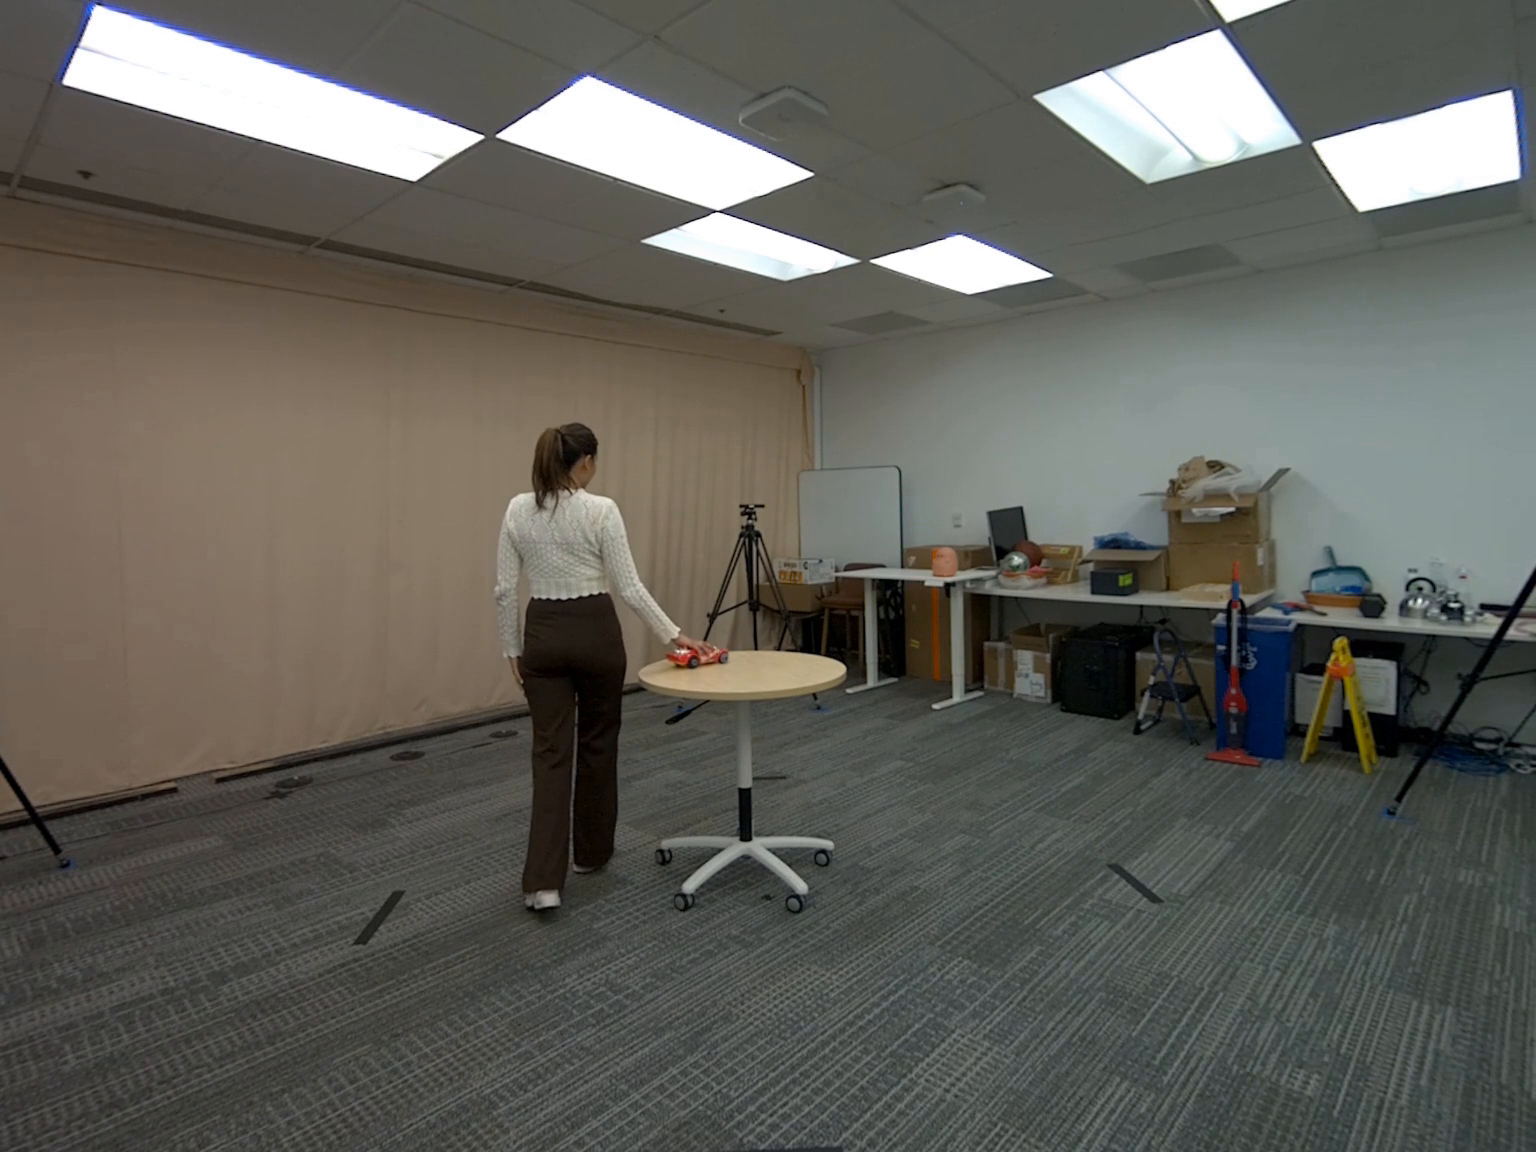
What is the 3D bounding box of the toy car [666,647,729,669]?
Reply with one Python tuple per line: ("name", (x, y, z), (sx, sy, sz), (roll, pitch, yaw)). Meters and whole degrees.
("toy car", (-0.275, 0.312, 3.217), (0.246, 0.083, 0.134), (9, -3, -38))
